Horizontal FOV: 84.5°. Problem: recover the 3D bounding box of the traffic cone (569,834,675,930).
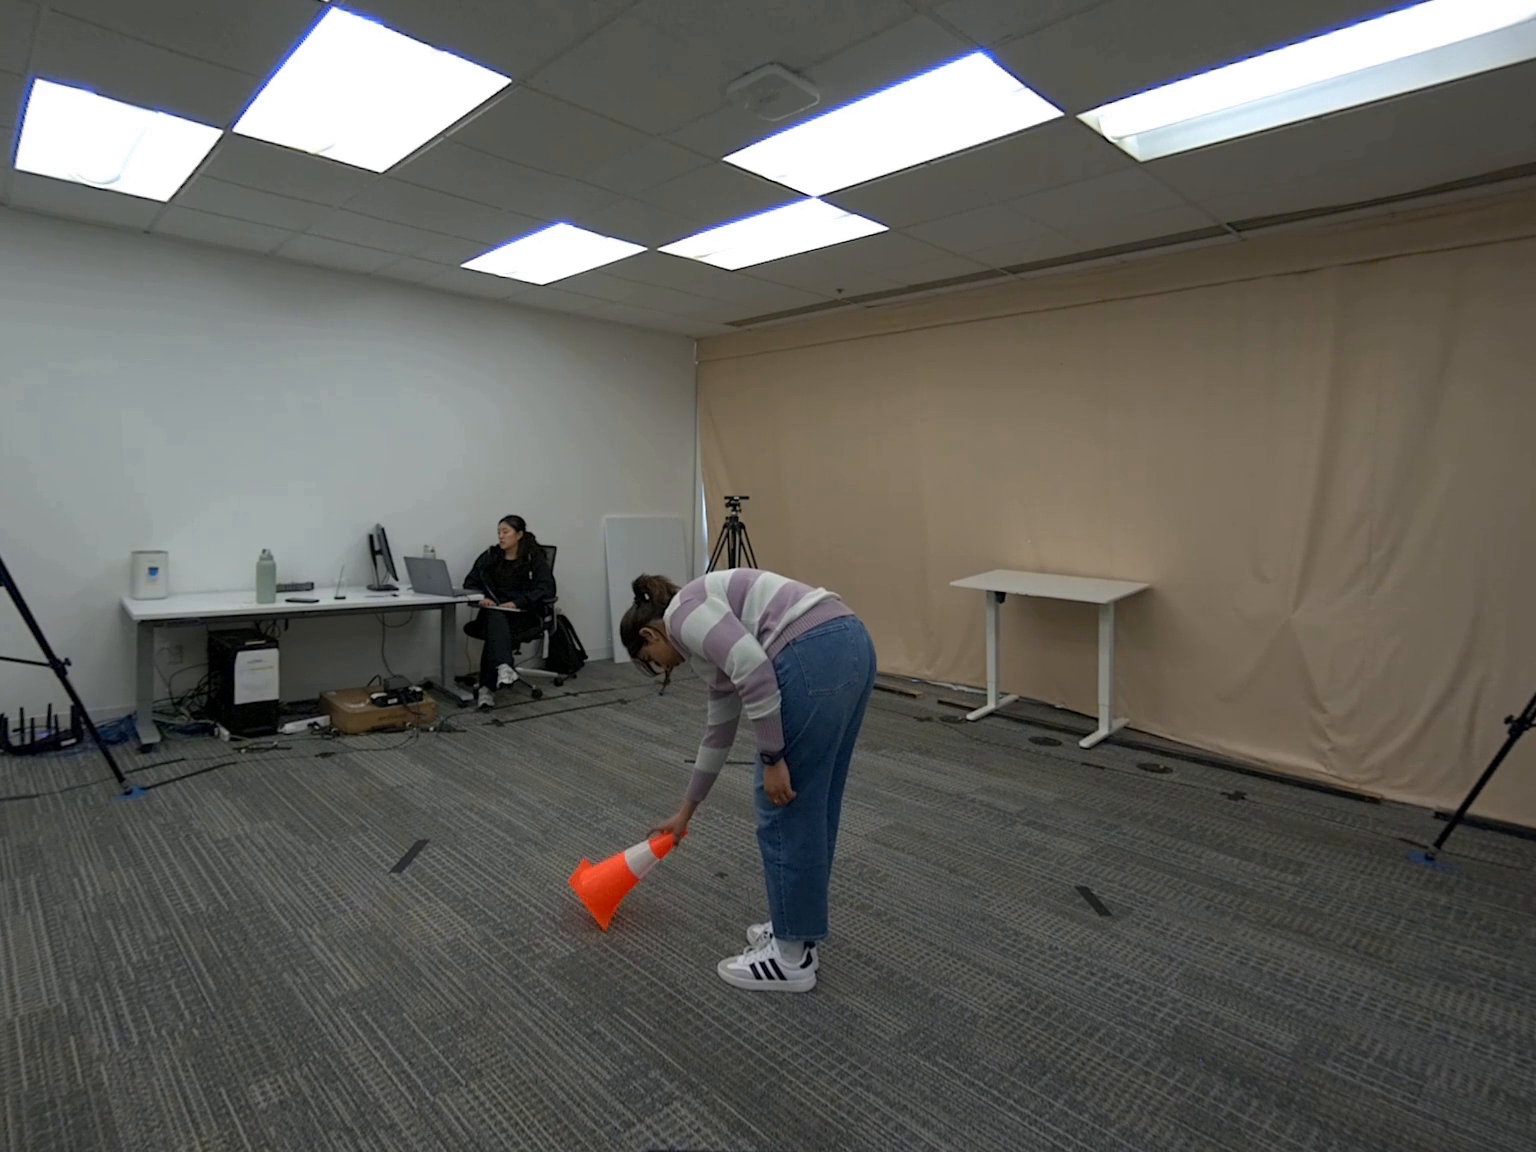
[{"bbox_3d":[-0.422,0.931,2.762,0.384,0.206,0.202,-37,-5,6],"label":"traffic cone"}]
